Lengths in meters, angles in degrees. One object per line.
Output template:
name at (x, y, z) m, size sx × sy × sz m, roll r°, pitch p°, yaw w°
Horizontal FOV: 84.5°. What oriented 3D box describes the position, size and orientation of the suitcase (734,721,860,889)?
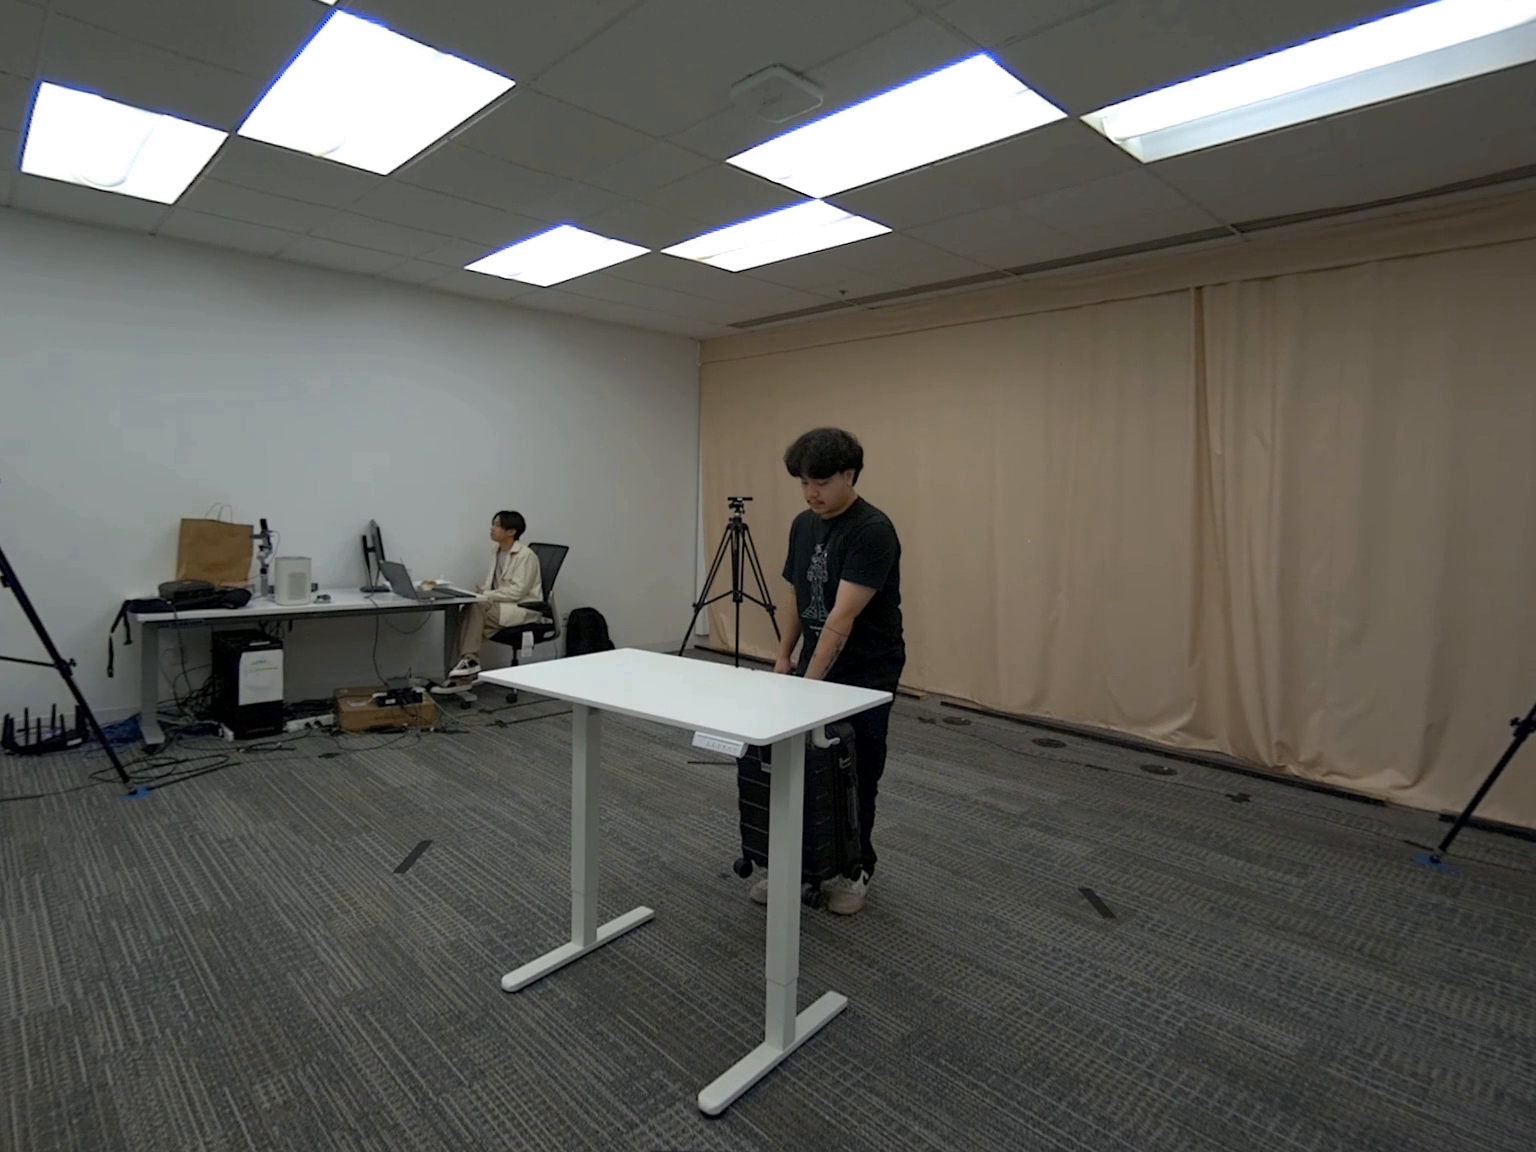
suitcase at (0.088, 0.718, 2.736) m, size 0.385 × 0.546 × 0.243 m, roll 5°, pitch 10°, yaw 44°
